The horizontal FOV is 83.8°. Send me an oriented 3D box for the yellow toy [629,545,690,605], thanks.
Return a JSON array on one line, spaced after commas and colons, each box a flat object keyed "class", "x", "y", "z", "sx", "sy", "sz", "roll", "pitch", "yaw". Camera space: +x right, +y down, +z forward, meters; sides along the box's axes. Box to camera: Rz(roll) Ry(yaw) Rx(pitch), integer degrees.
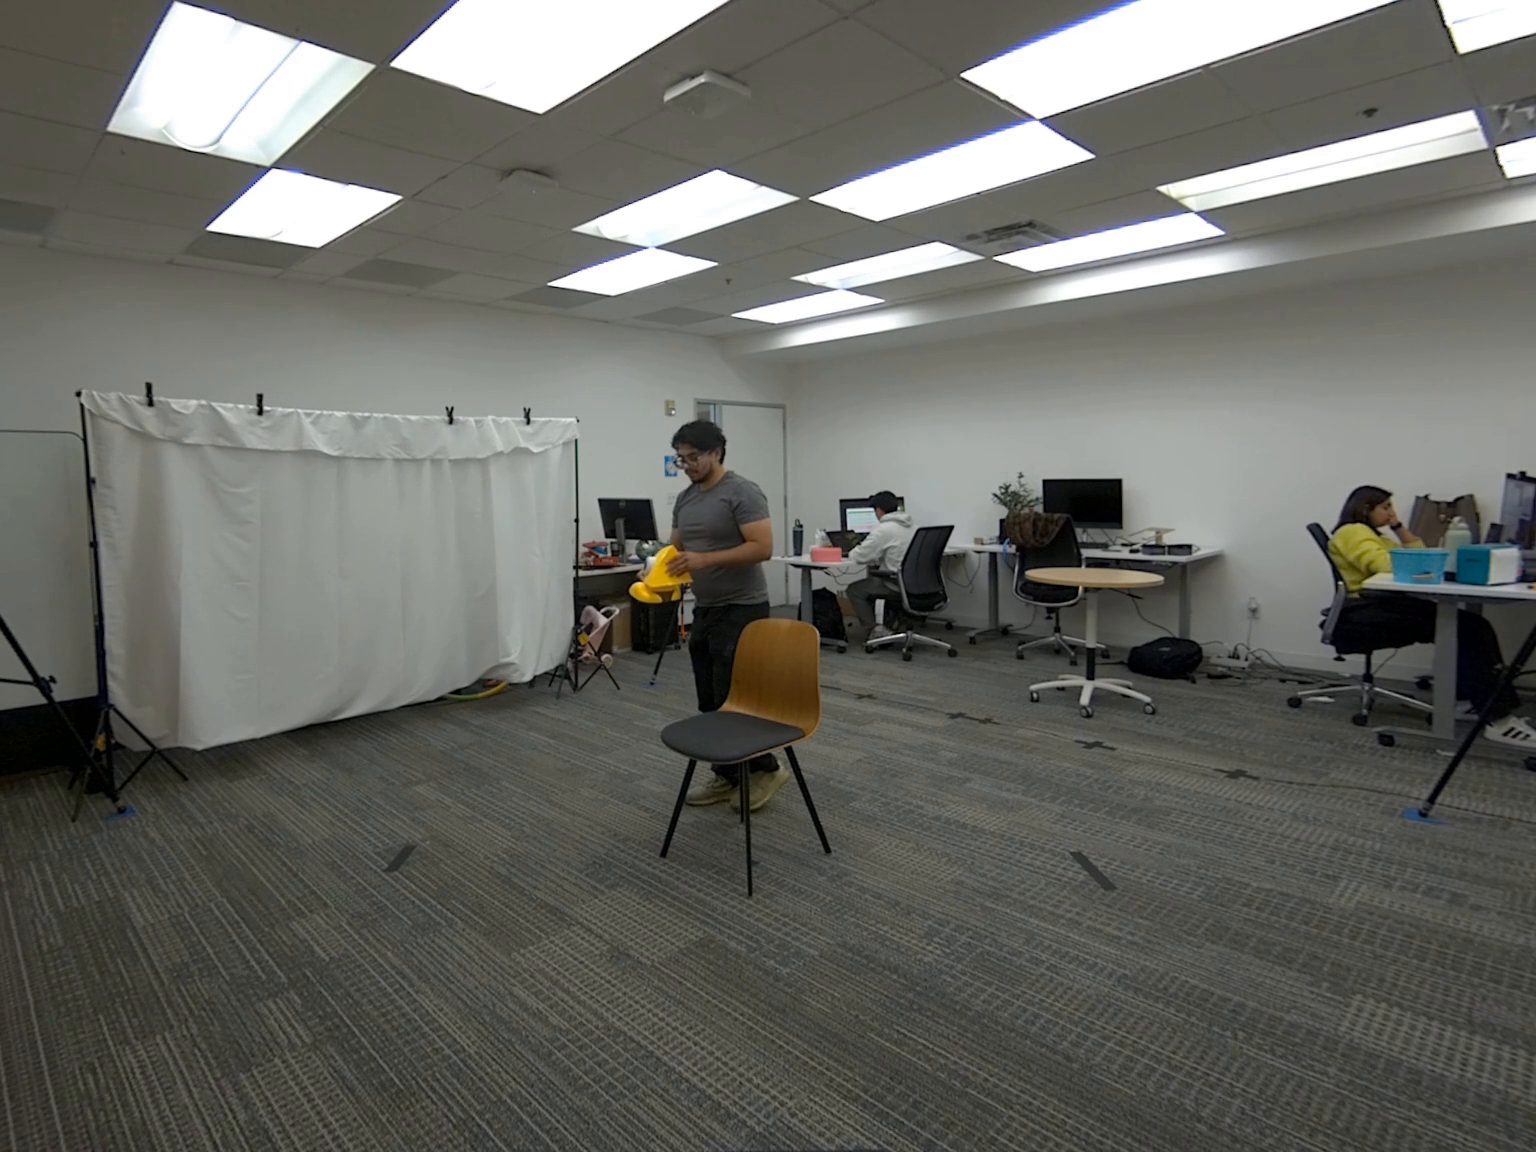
[{"class": "yellow toy", "x": -0.428, "y": -0.028, "z": 3.390, "sx": 0.200, "sy": 0.228, "sz": 0.200, "roll": -8, "pitch": 23, "yaw": -42}]
